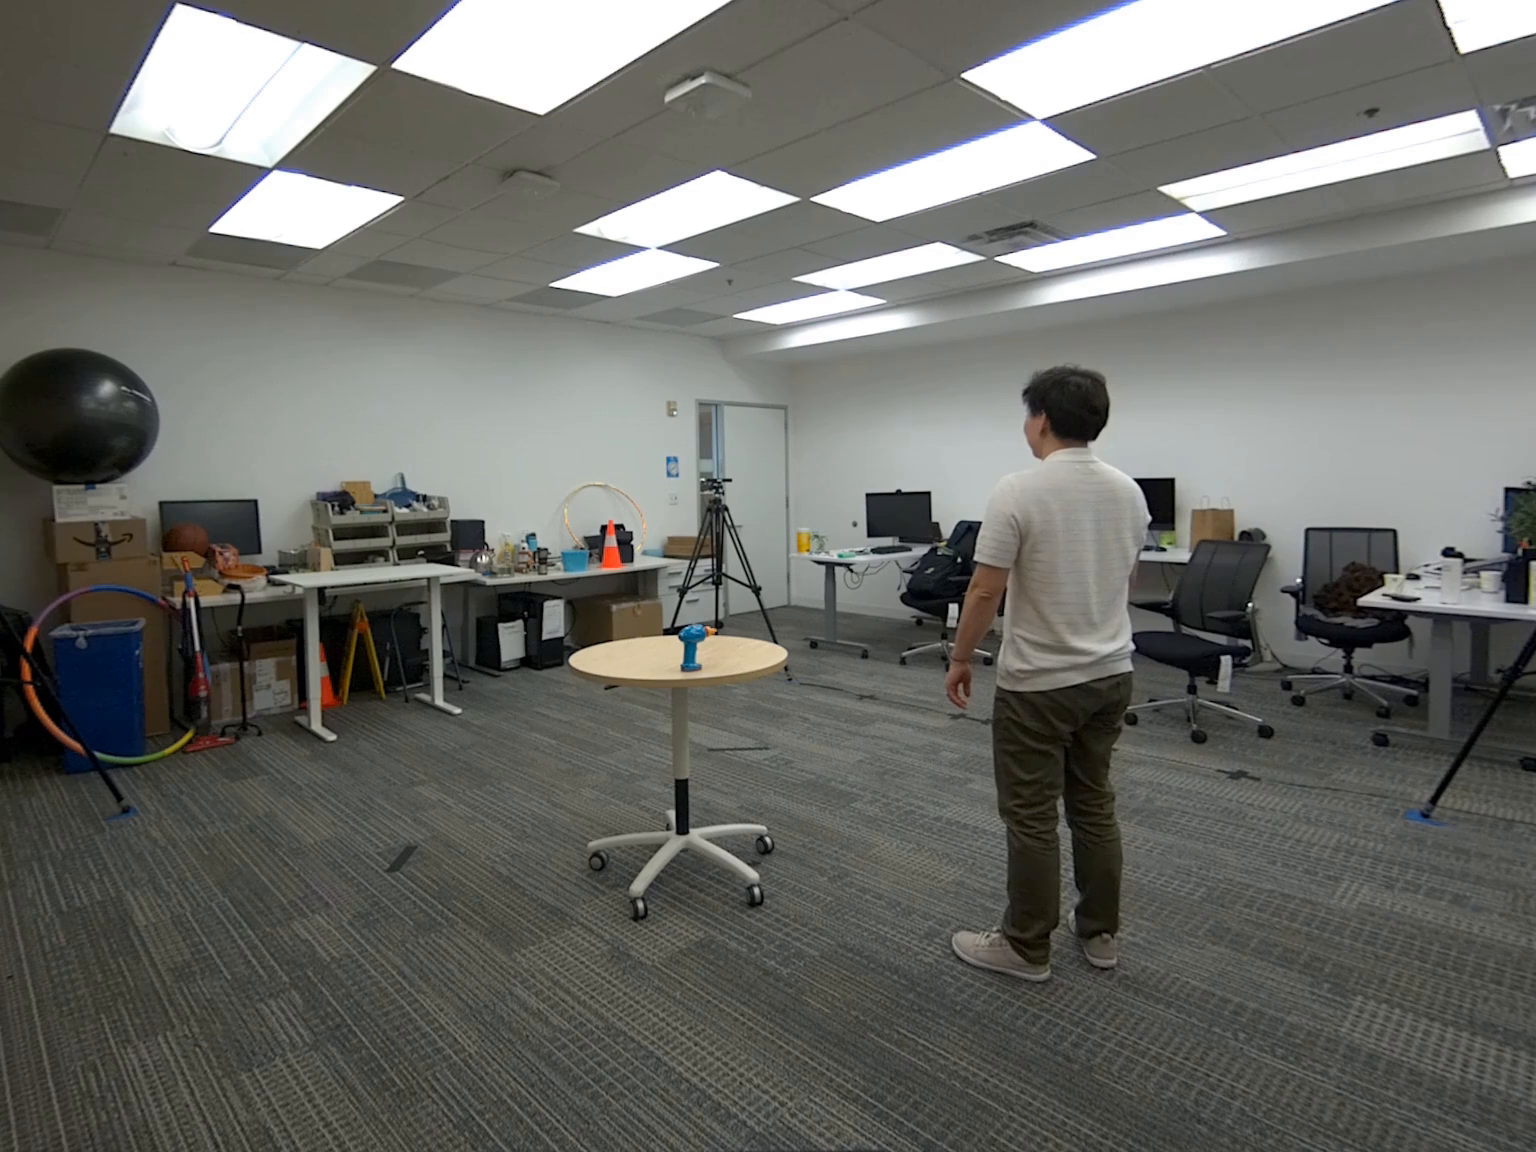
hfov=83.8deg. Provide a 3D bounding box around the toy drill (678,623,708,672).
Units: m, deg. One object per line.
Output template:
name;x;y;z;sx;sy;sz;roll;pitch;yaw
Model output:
toy drill;-0.229;0.225;2.788;0.063;0.146;0.166;-2;4;36
